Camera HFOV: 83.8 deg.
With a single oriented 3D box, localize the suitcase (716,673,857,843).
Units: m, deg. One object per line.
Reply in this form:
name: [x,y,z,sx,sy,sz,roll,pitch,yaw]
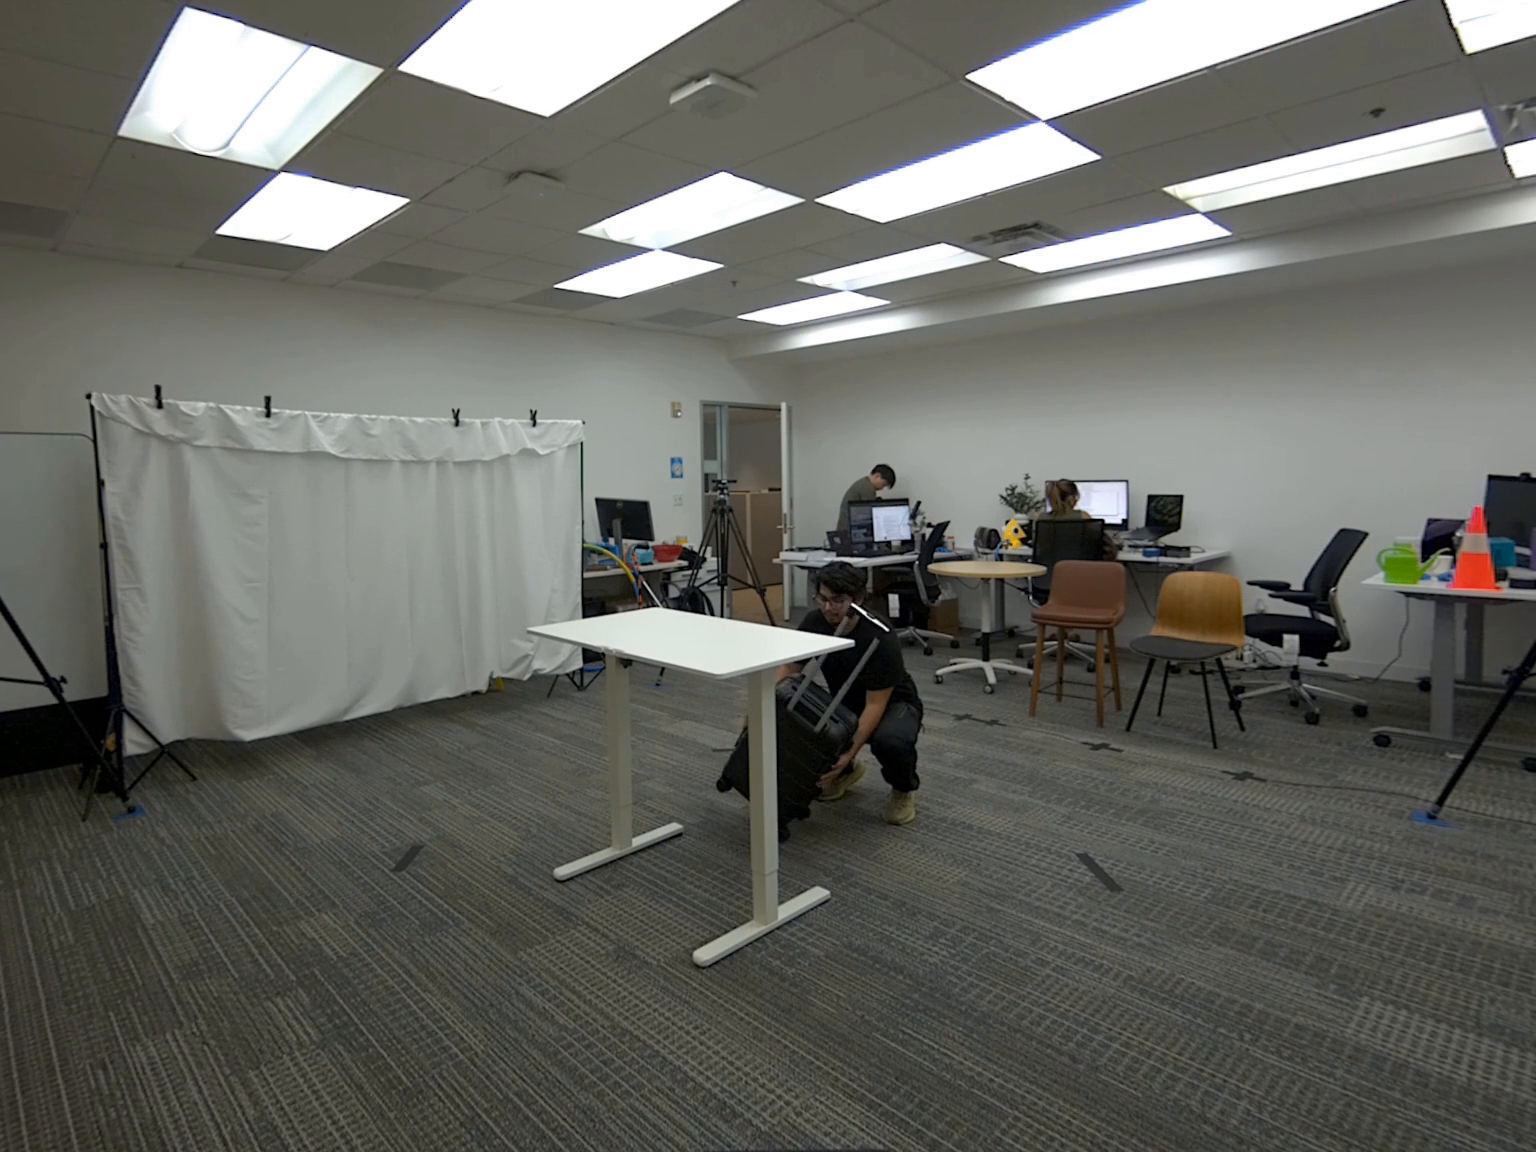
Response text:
suitcase: [0.174,0.519,3.280,0.393,0.972,0.253,36,22,18]
